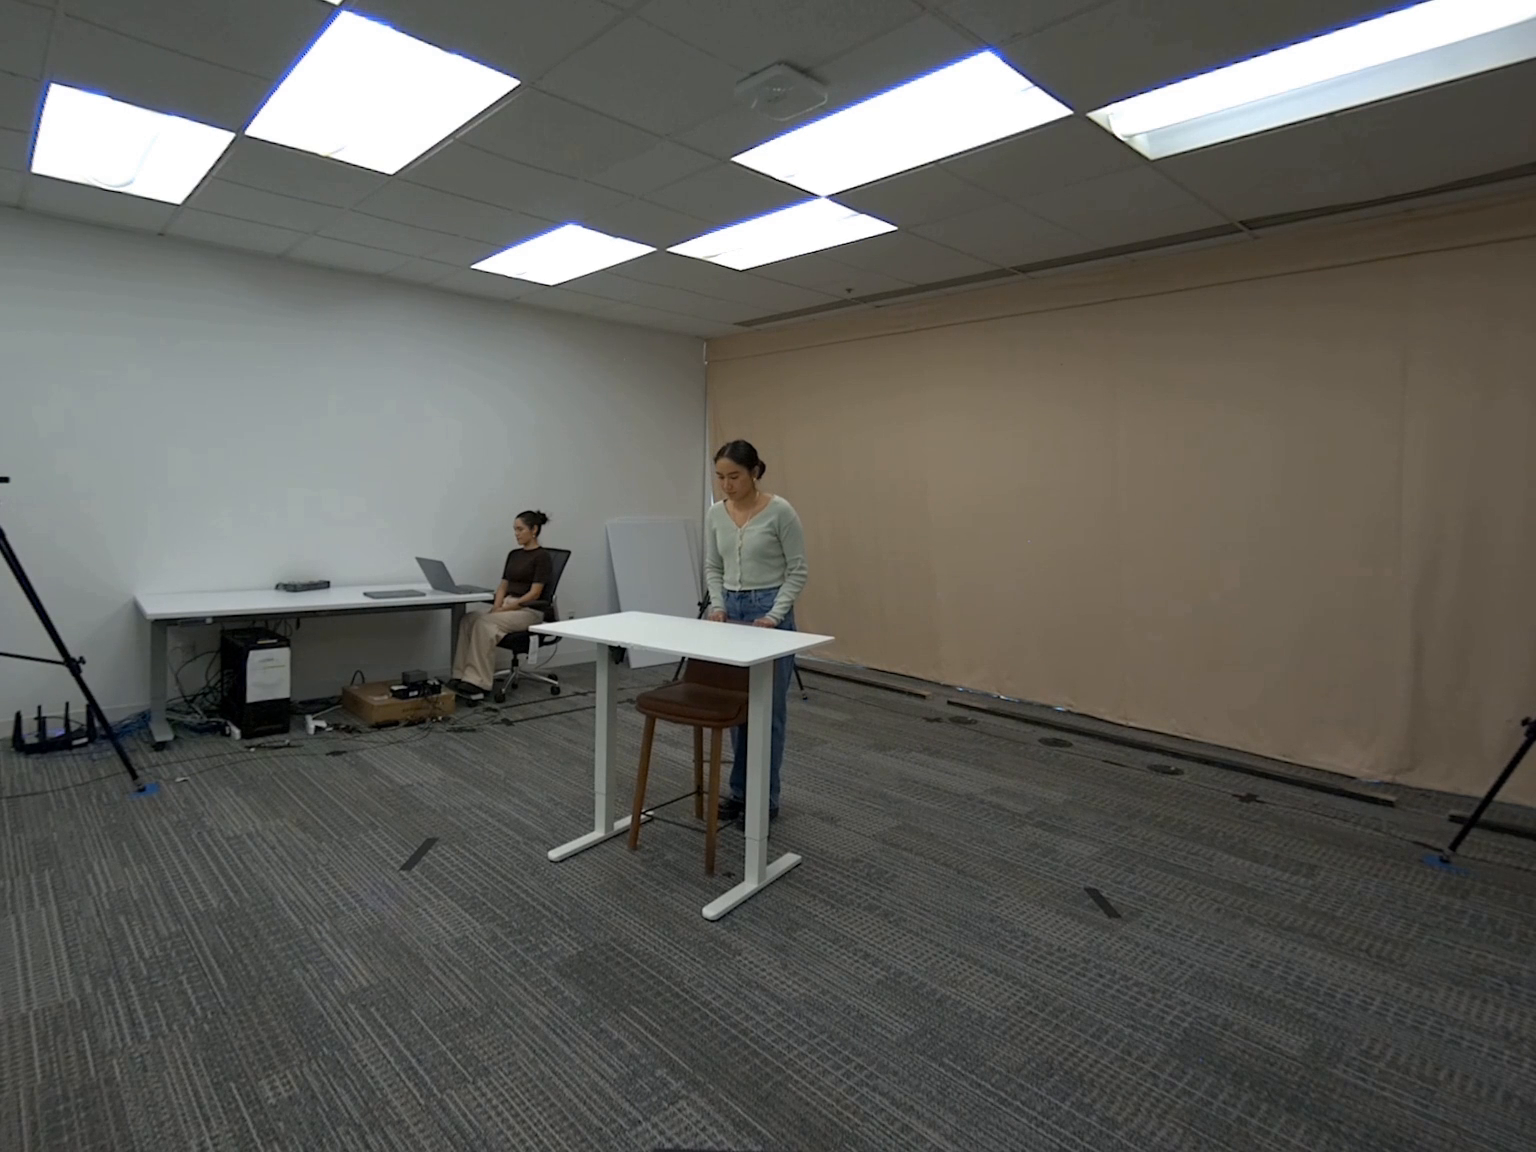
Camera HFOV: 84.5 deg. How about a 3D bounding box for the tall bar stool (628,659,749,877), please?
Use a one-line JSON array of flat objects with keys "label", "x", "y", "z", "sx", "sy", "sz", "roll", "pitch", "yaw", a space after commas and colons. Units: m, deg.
[{"label": "tall bar stool", "x": -0.254, "y": 0.643, "z": 3.358, "sx": 0.467, "sy": 0.889, "sz": 0.457, "roll": 3, "pitch": 2, "yaw": 33}]
